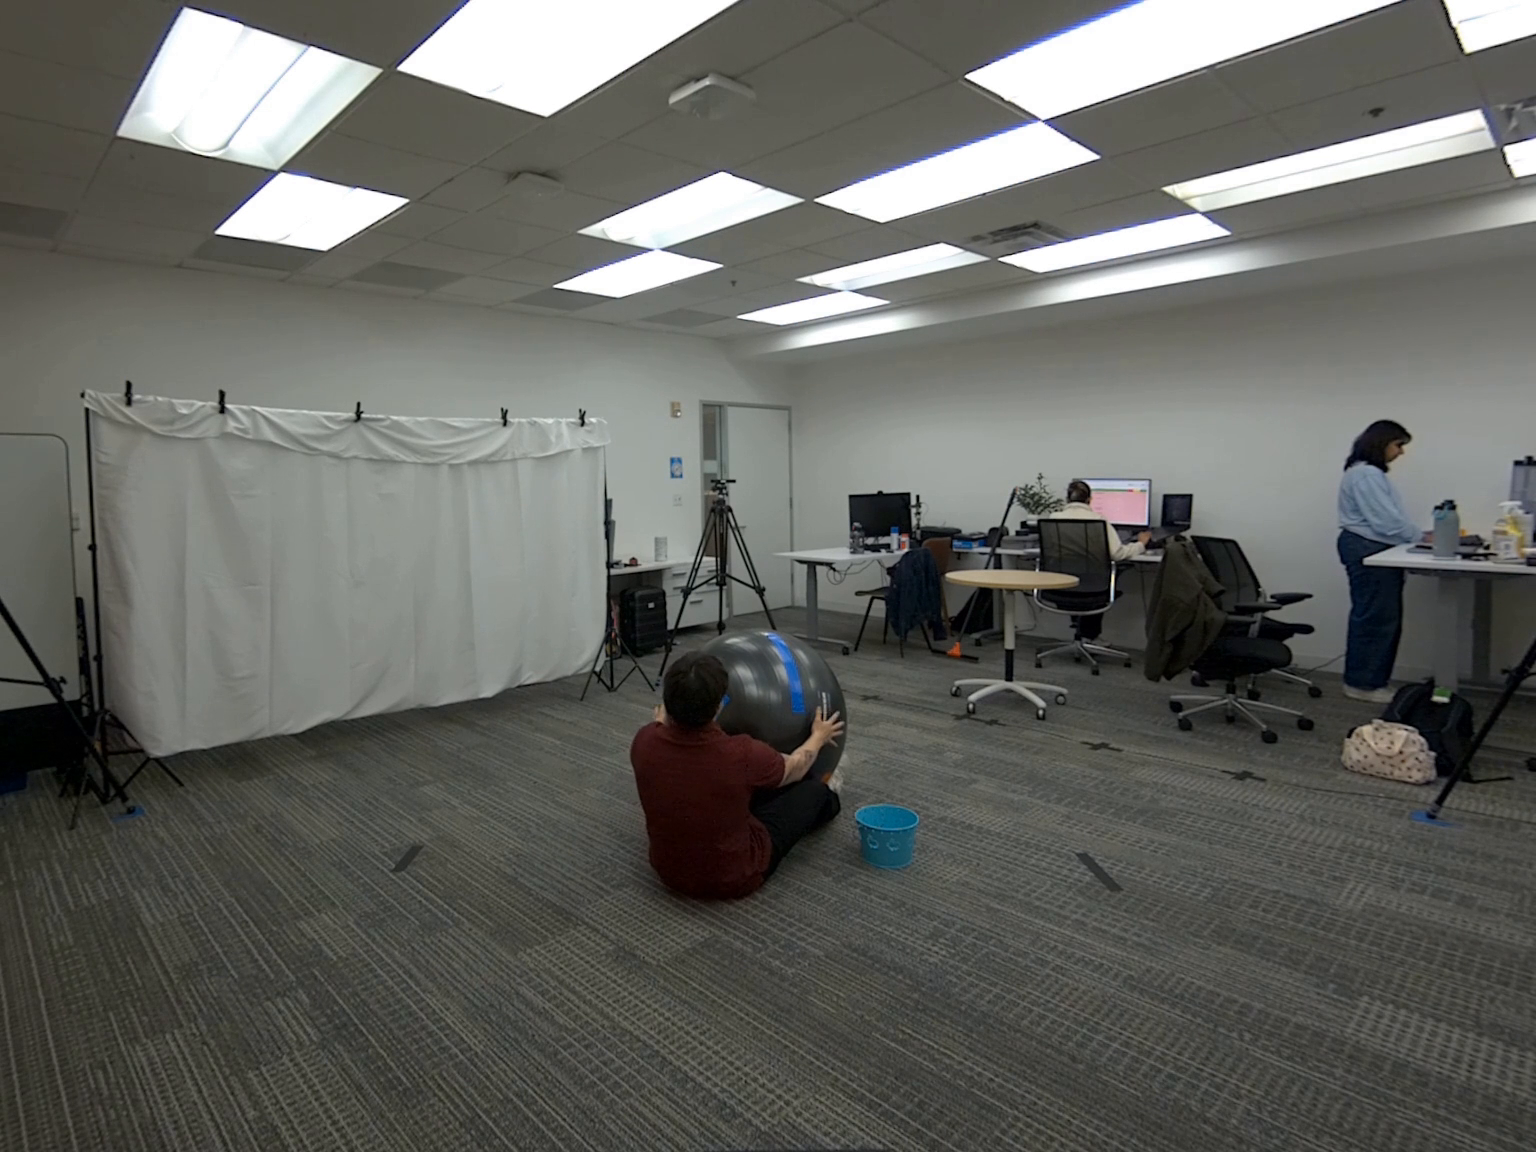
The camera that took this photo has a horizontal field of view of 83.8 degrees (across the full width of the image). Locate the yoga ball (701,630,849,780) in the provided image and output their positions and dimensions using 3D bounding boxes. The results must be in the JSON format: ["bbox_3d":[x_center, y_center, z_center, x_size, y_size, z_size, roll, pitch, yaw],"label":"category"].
[{"bbox_3d":[-0.055,0.600,3.585,0.757,0.755,0.762,-1,5,-2],"label":"yoga ball"}]
